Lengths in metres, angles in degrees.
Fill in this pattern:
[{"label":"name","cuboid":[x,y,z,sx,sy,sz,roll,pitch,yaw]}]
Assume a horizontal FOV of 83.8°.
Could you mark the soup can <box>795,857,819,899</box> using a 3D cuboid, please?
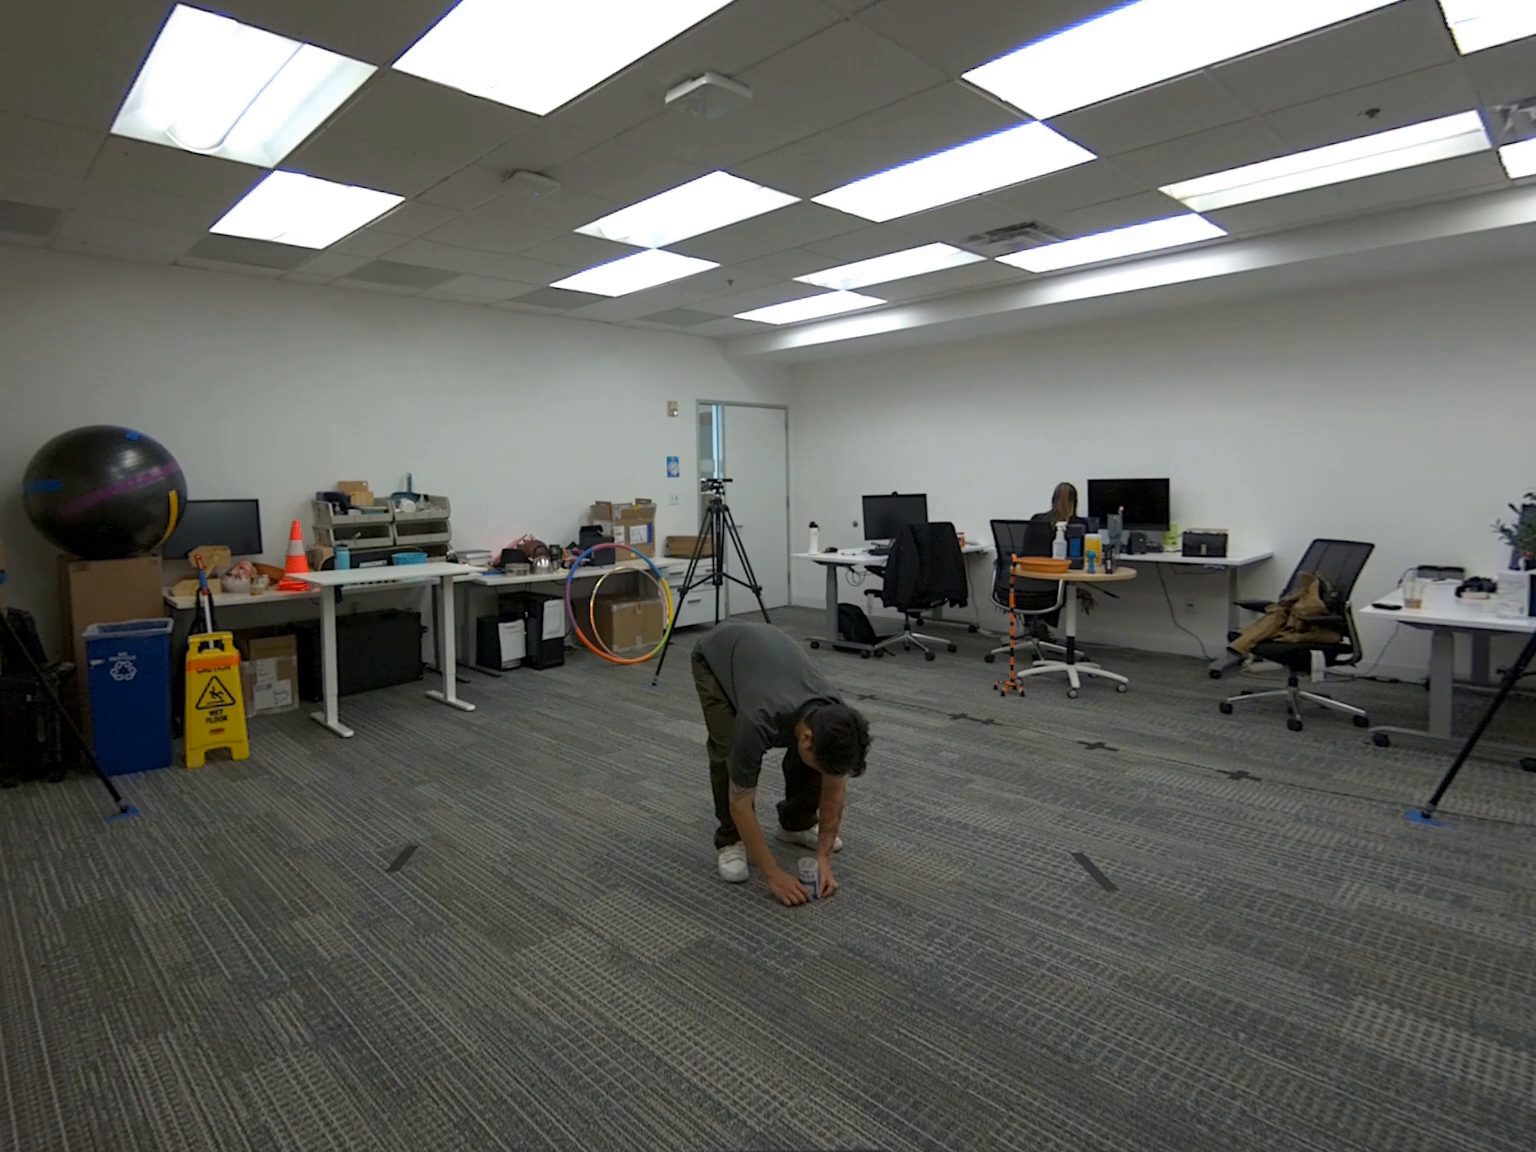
[{"label":"soup can","cuboid":[0.132,1.012,2.850,0.067,0.121,0.067,-4,4,-1]}]
